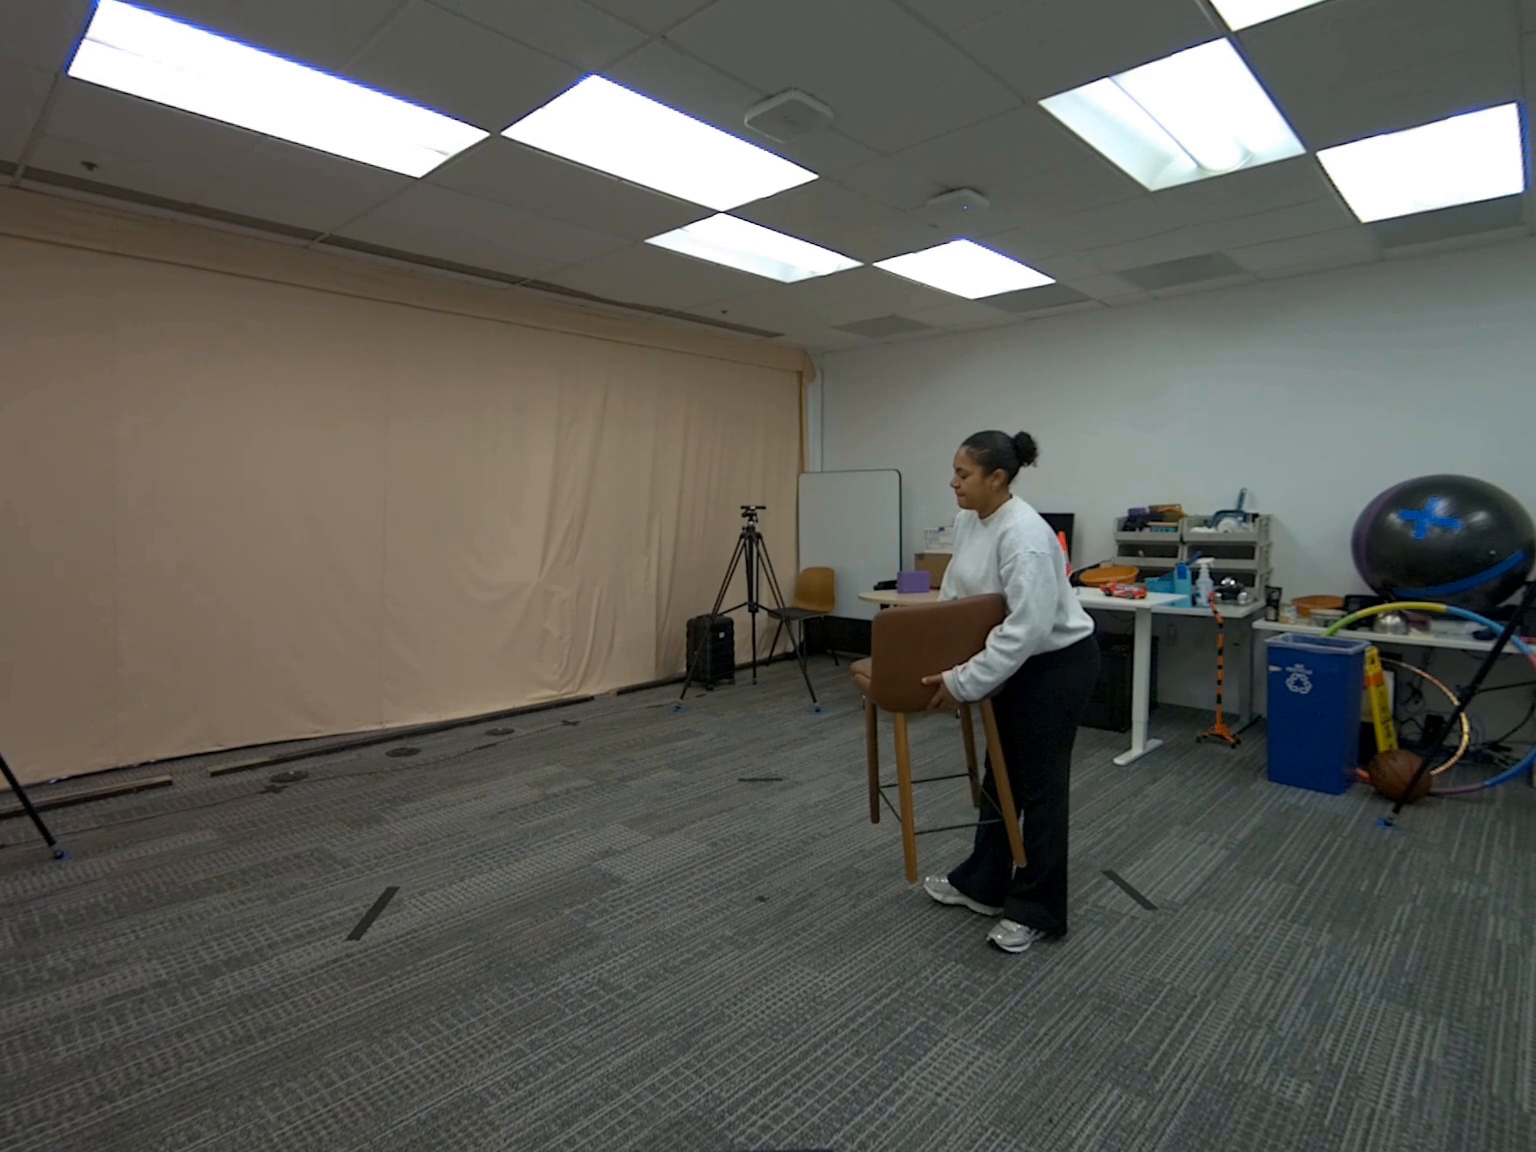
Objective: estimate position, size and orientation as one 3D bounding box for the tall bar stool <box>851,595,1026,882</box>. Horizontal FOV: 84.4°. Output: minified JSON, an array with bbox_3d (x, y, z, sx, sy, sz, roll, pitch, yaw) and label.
[{"bbox_3d":[0.545,0.476,2.775,0.455,0.884,0.472,-8,8,-5],"label":"tall bar stool"}]
